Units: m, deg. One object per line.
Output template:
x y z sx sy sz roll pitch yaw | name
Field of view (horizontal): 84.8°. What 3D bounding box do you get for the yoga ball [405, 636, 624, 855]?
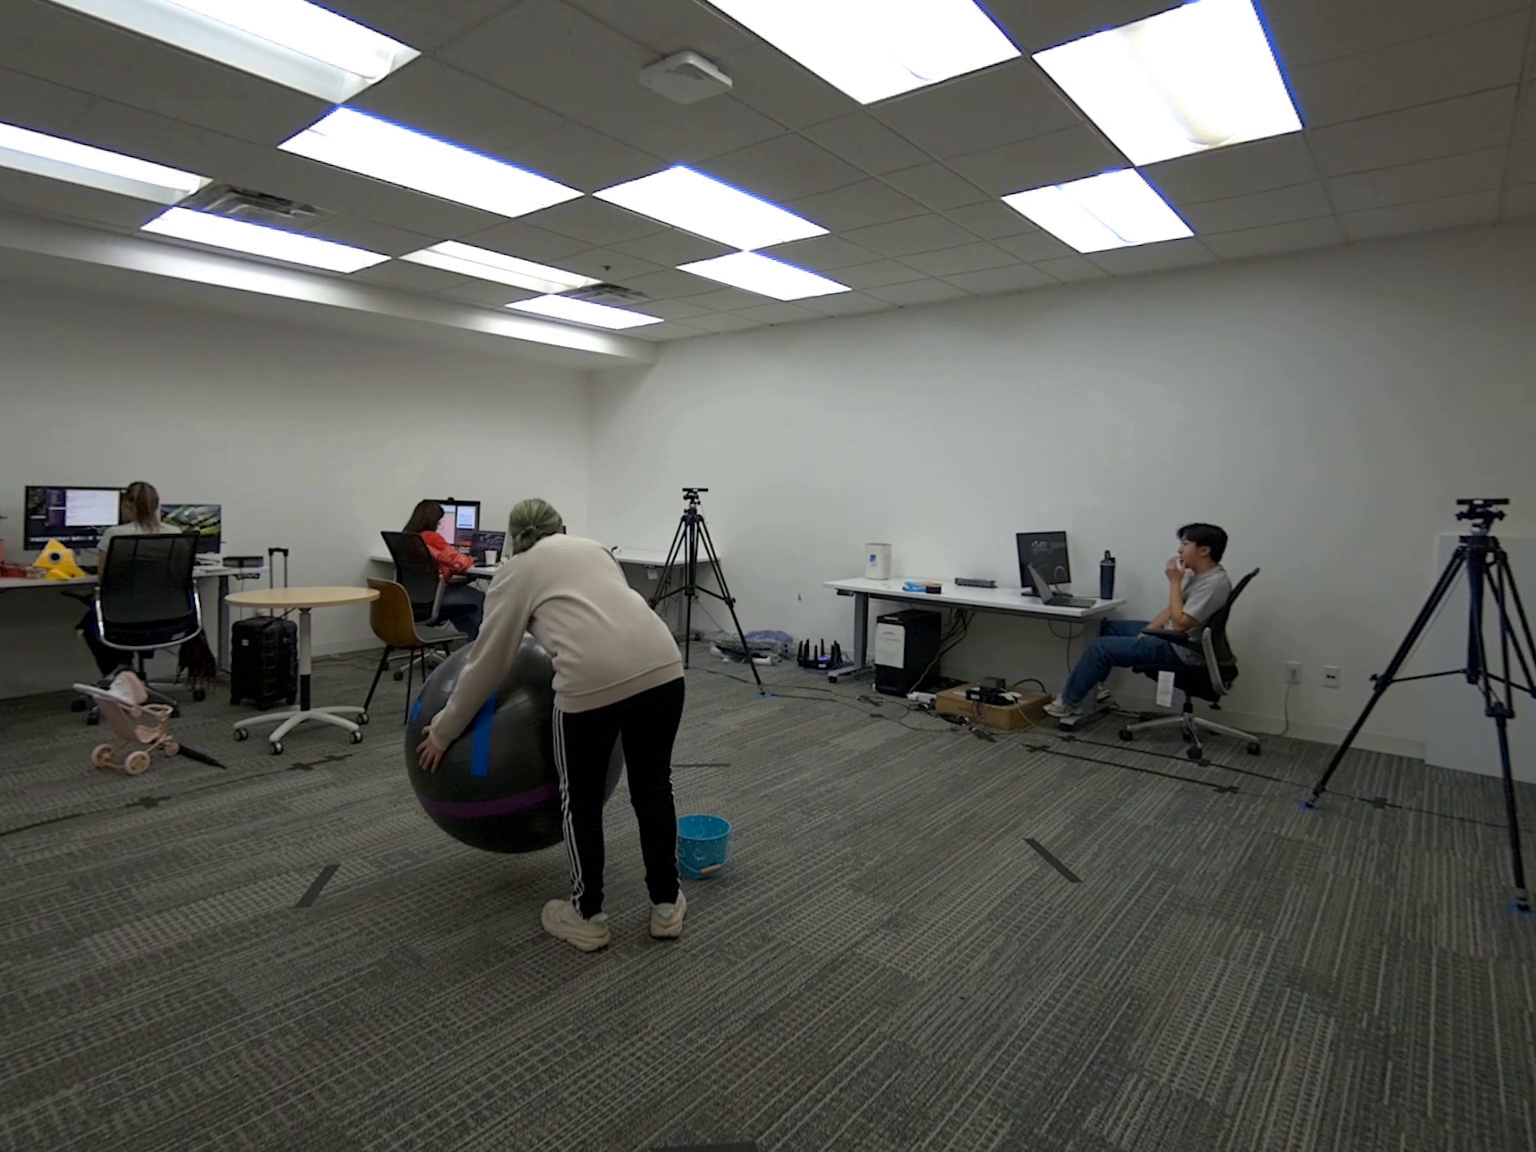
-0.882 0.572 2.978 0.757 0.755 0.762 1 4 -2 | yoga ball
